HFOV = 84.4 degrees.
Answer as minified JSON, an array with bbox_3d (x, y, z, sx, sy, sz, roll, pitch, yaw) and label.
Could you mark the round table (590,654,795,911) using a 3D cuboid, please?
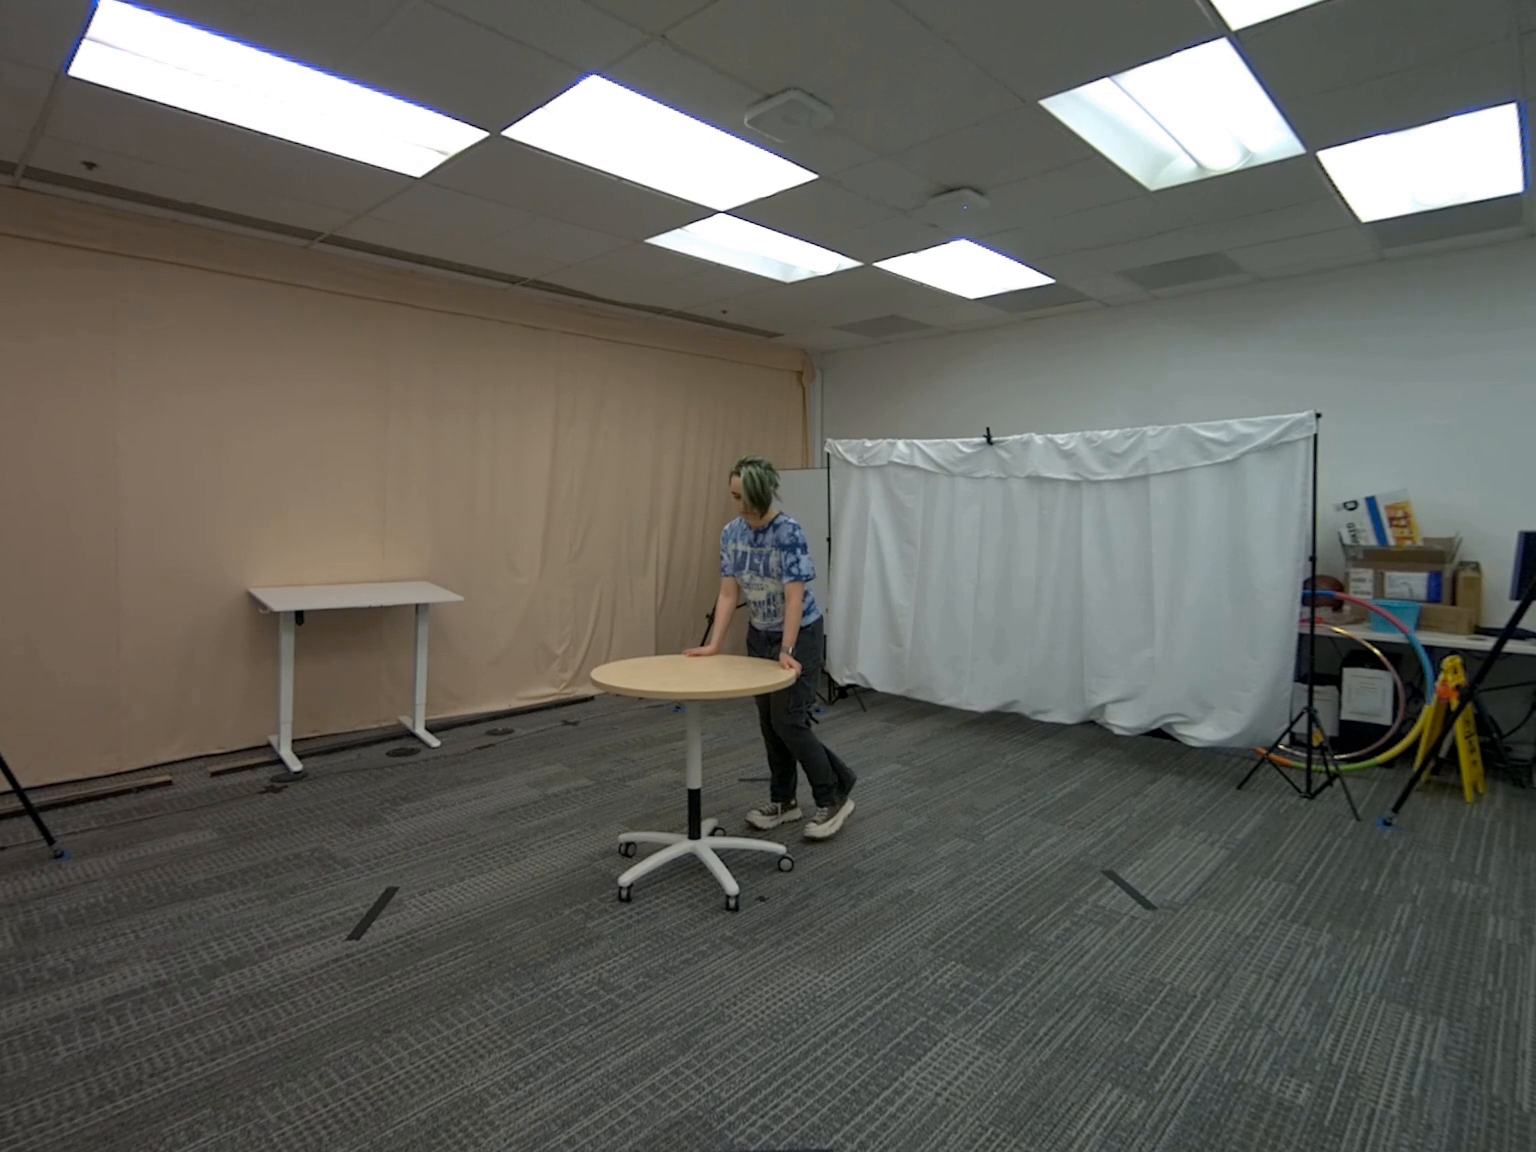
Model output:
[{"bbox_3d":[-0.279,0.745,3.169,0.763,0.792,0.766,0,3,-2],"label":"round table"}]
